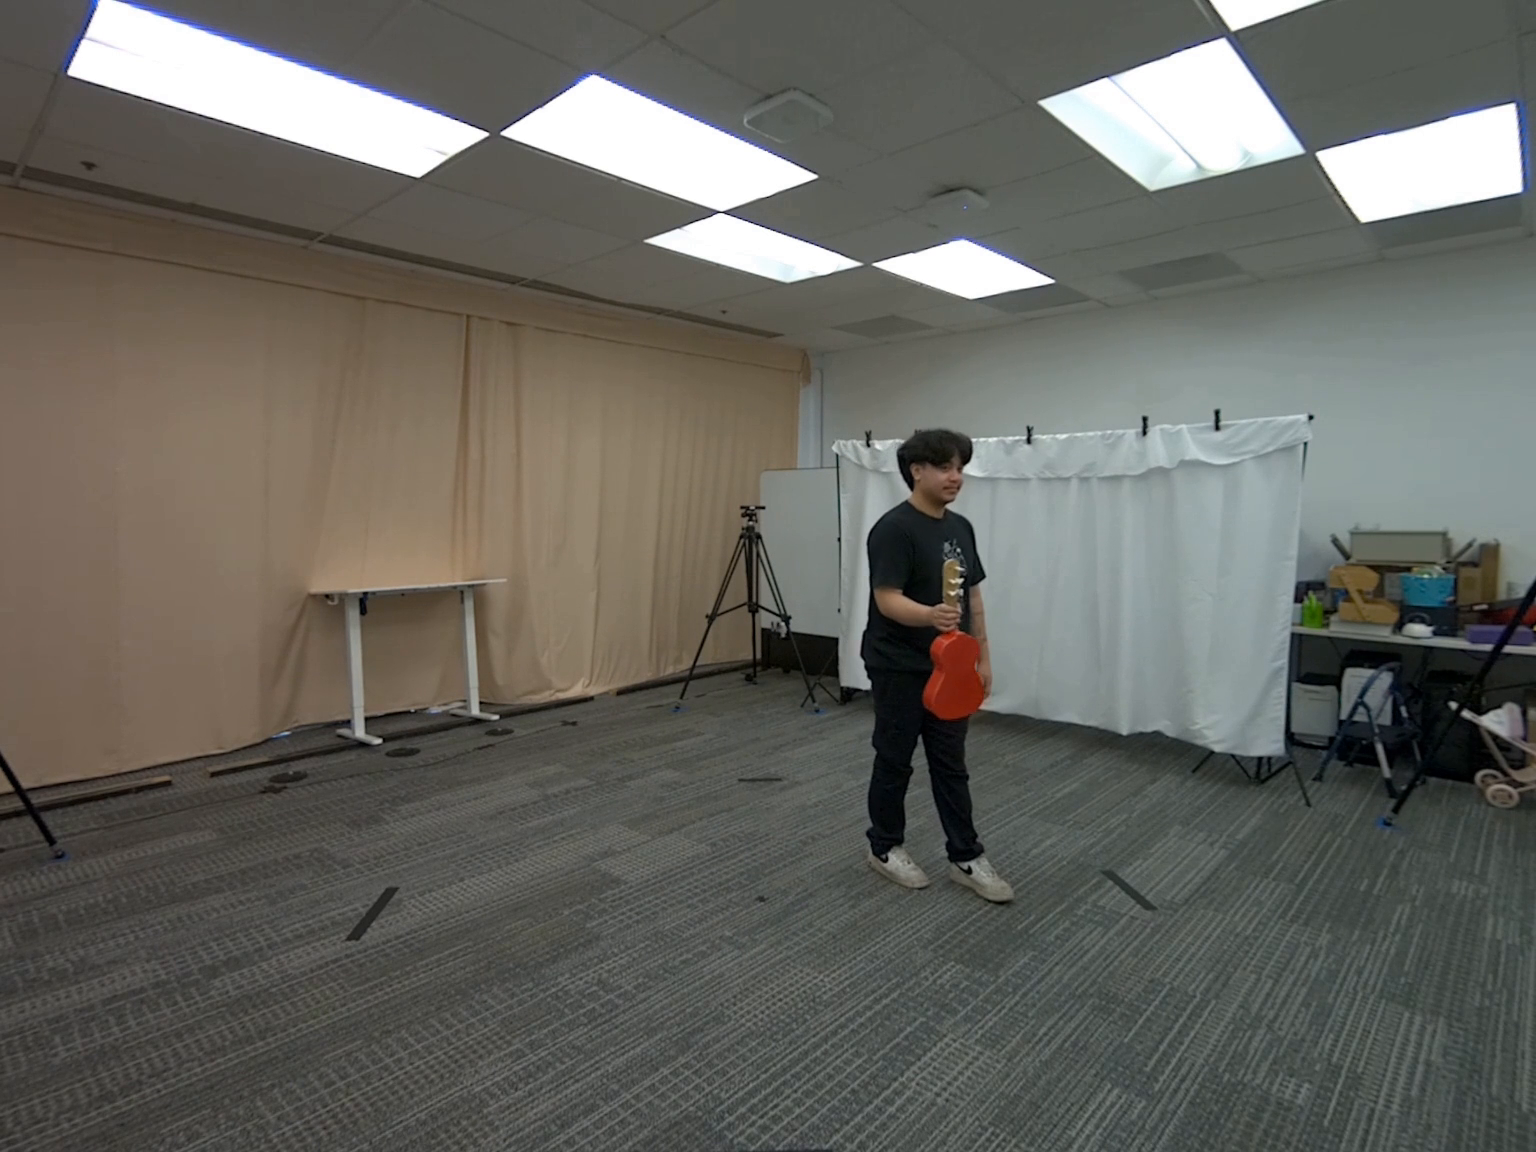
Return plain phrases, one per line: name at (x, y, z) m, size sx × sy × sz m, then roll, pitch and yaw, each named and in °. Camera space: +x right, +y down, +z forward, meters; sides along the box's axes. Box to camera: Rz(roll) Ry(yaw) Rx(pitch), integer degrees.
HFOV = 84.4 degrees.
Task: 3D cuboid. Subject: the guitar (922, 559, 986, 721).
guitar at (0.560, 0.206, 2.629) m, size 0.190 × 0.492 × 0.072 m, roll -13°, pitch 15°, yaw -18°
